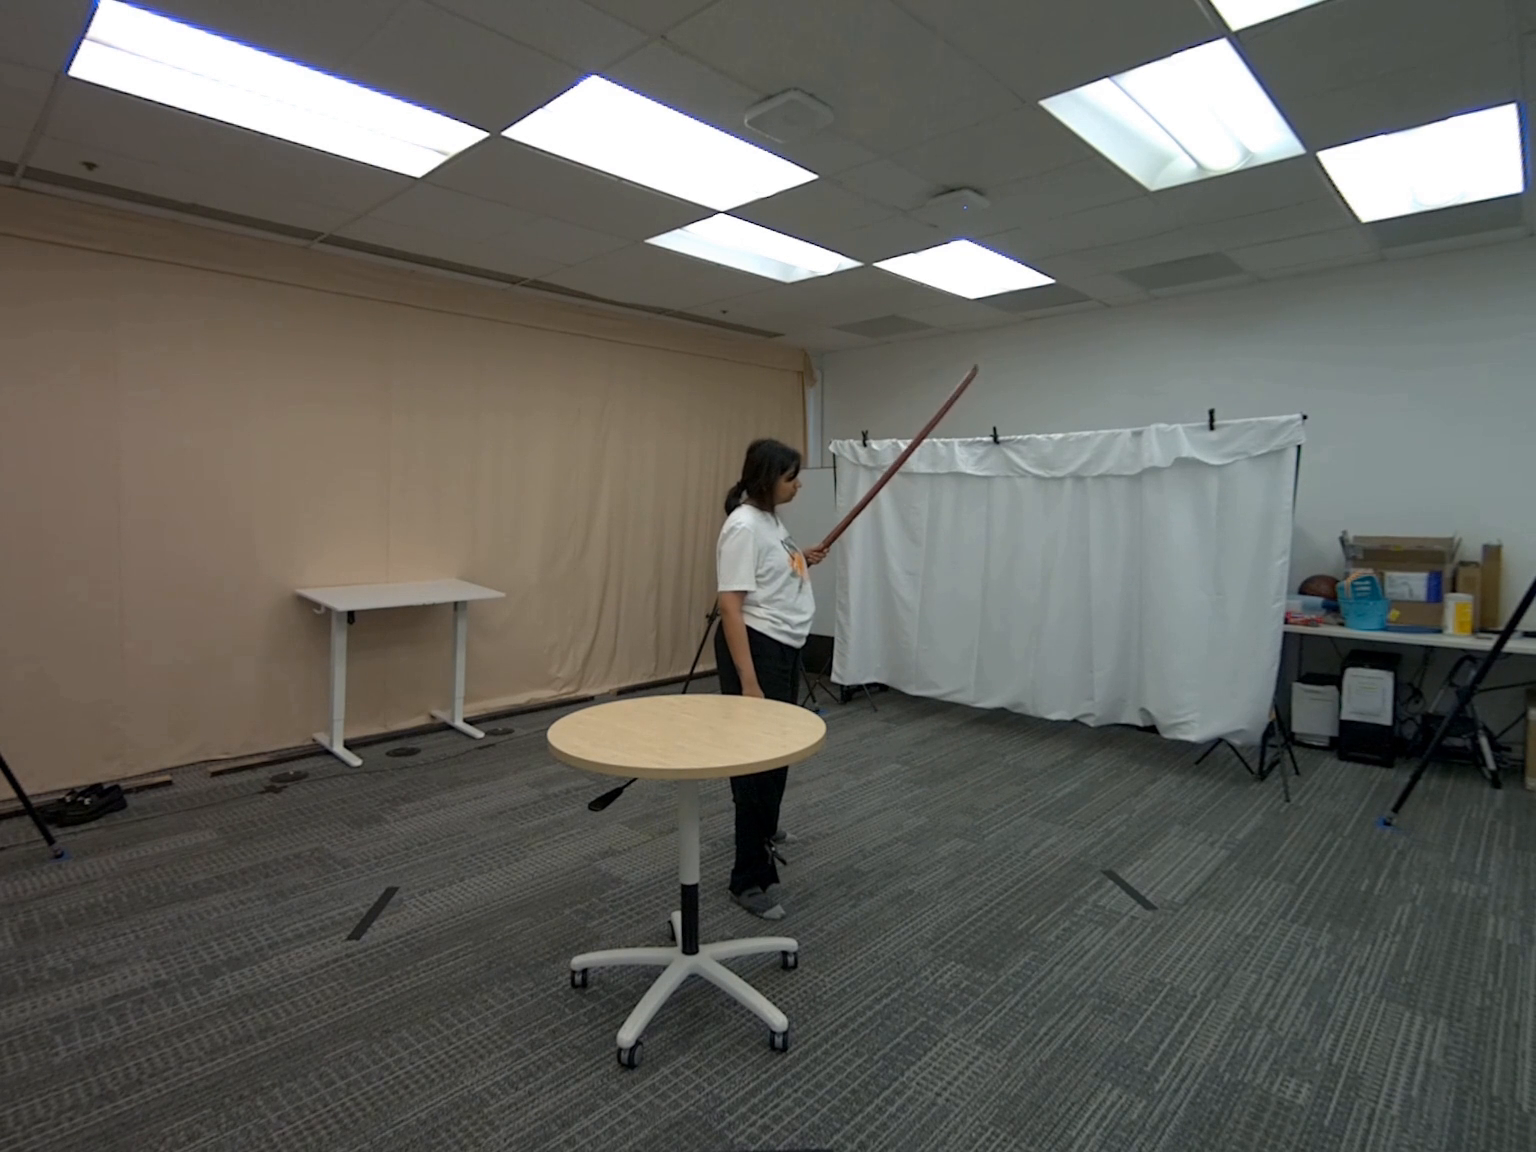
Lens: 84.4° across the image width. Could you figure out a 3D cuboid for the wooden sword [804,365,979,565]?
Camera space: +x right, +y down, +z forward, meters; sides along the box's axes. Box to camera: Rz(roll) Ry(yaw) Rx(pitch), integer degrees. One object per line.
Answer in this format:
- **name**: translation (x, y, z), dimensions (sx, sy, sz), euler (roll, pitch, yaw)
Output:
- **wooden sword**: translation (0.488, -0.413, 3.301), dimensions (0.023, 1.026, 0.052), euler (36, 9, -24)
